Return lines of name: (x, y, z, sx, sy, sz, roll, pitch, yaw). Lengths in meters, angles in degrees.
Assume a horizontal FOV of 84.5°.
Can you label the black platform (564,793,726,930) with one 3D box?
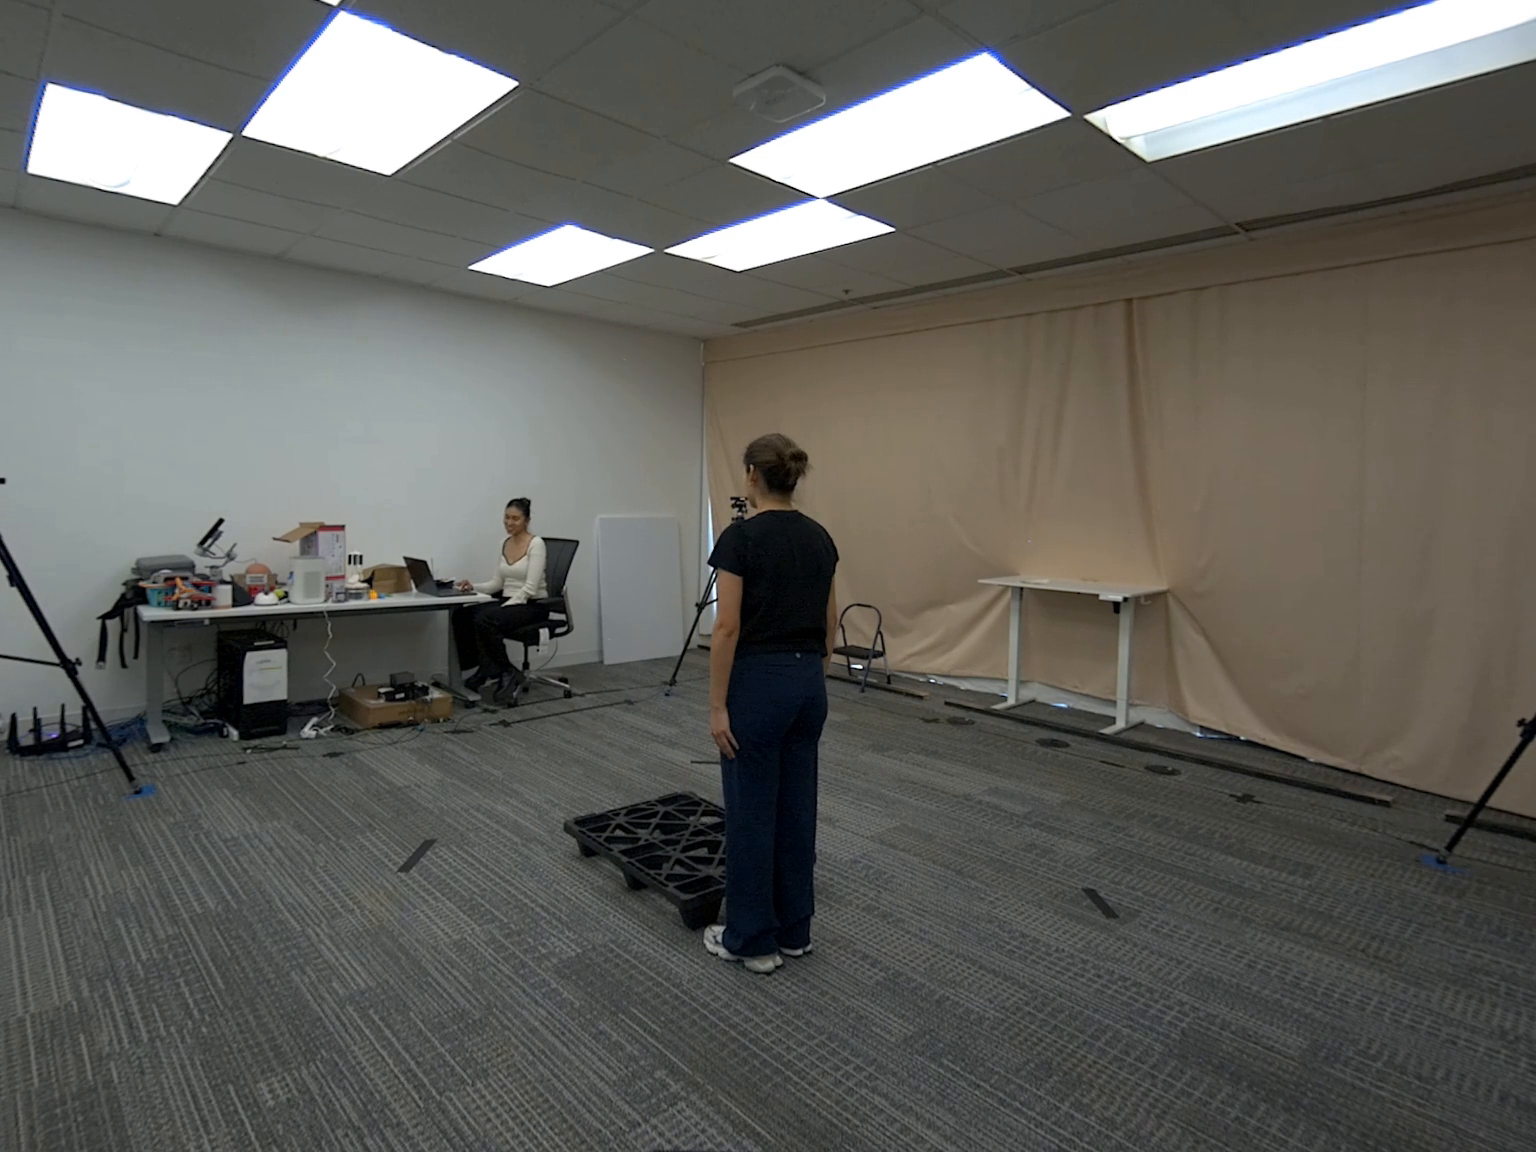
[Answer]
black platform: (-0.312, 1.038, 3.123, 0.591, 0.143, 0.826, -3, 7, -41)
